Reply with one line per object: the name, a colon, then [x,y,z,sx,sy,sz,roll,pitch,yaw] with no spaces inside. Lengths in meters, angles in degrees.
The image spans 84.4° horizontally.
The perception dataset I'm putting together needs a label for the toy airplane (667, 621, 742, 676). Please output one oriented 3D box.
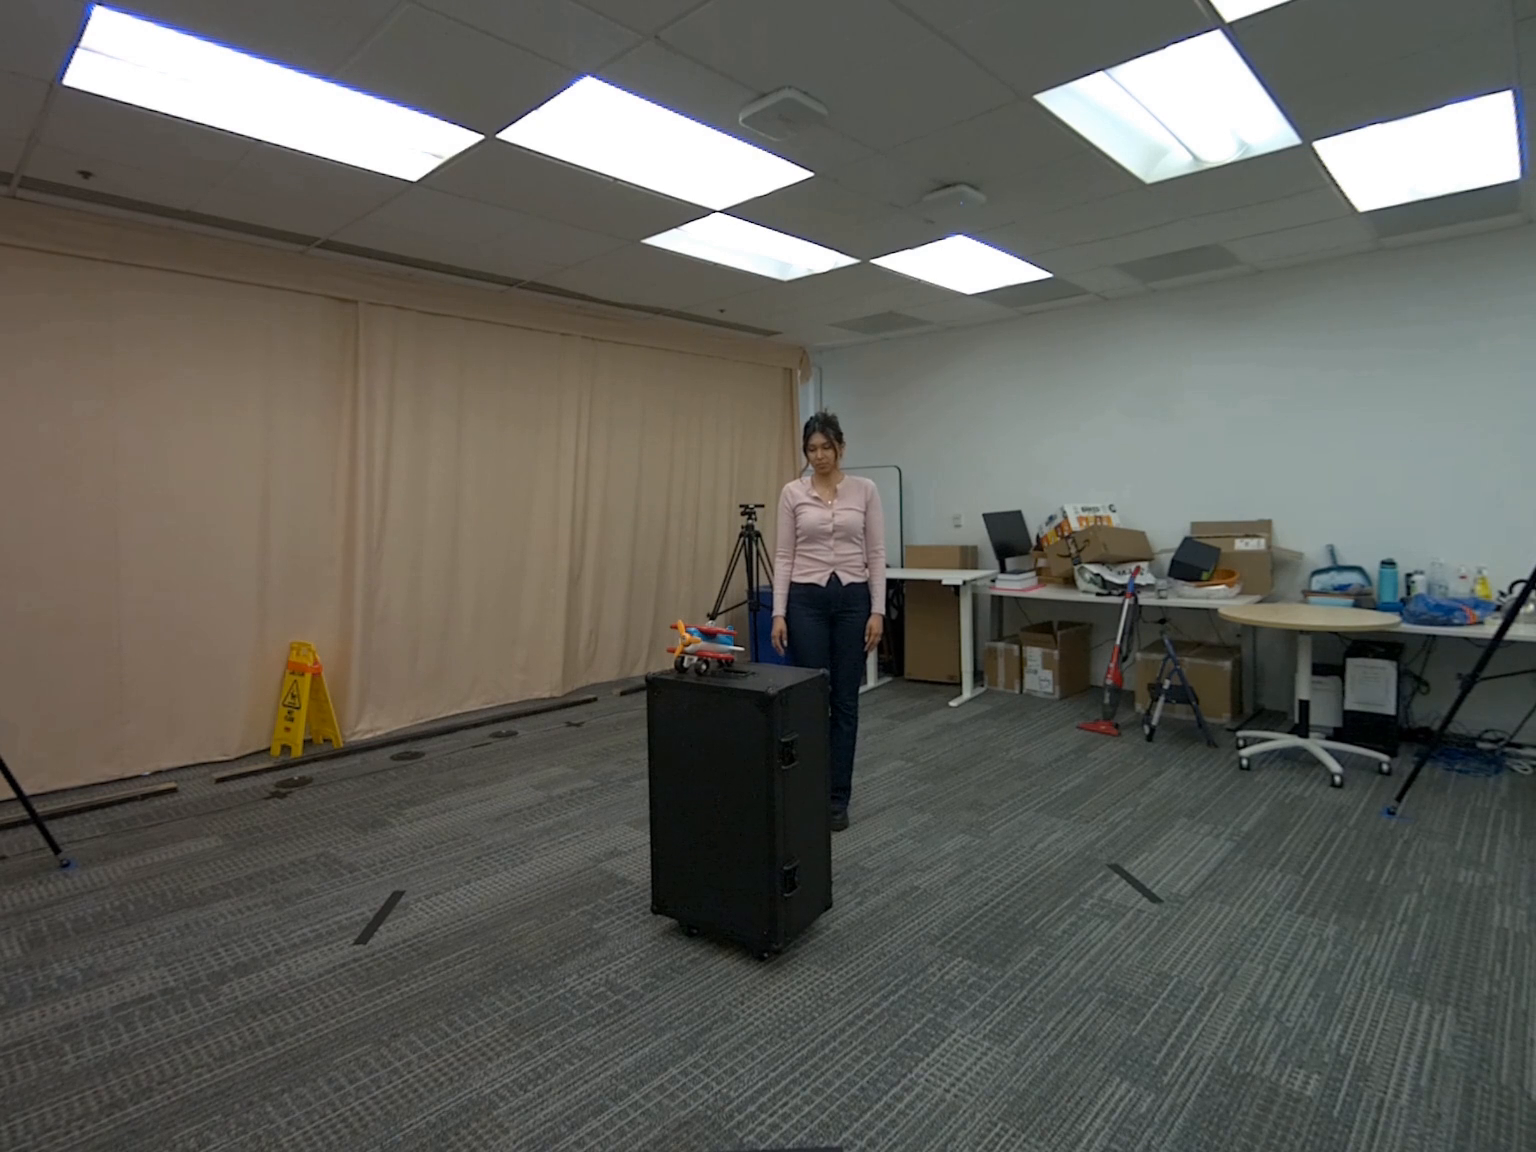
toy airplane: [-0.210,0.233,2.787,0.254,0.156,0.257,0,5,10]
